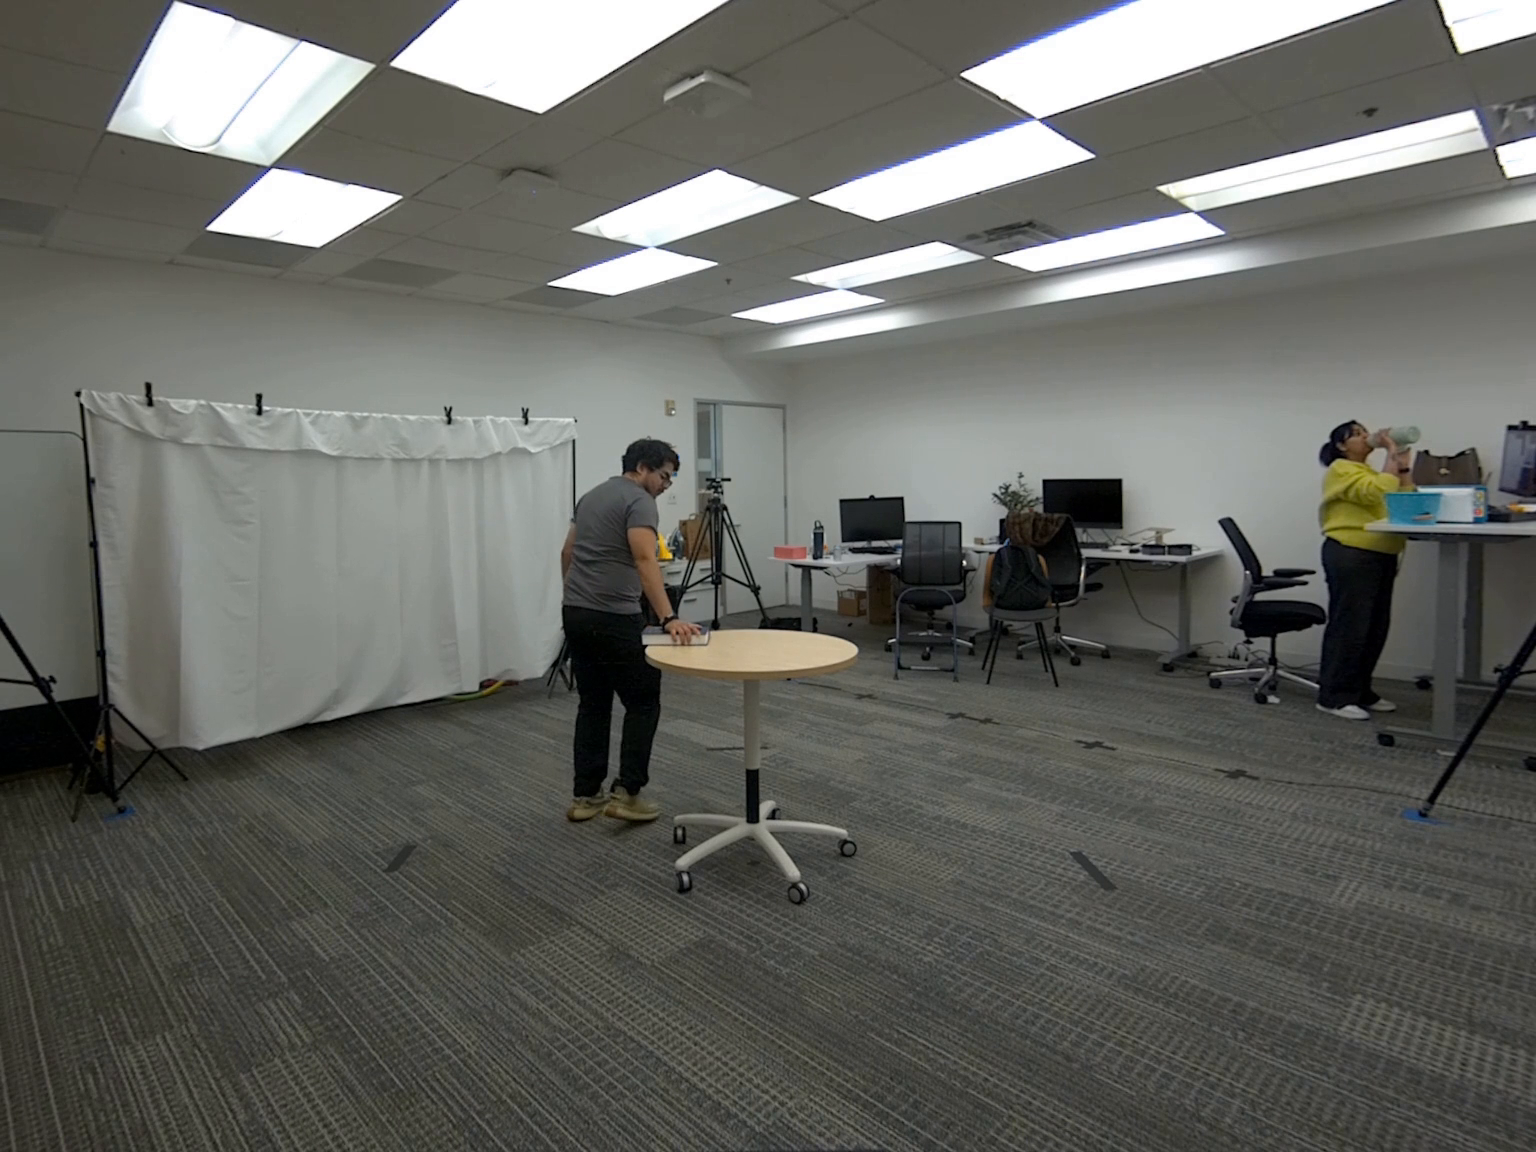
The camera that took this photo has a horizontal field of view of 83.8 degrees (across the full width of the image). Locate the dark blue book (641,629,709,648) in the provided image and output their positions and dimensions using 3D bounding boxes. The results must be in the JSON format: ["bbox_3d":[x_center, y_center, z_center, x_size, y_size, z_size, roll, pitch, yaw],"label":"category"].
[{"bbox_3d":[-0.342,0.228,3.229,0.246,0.045,0.164,0,7,2],"label":"dark blue book"}]
